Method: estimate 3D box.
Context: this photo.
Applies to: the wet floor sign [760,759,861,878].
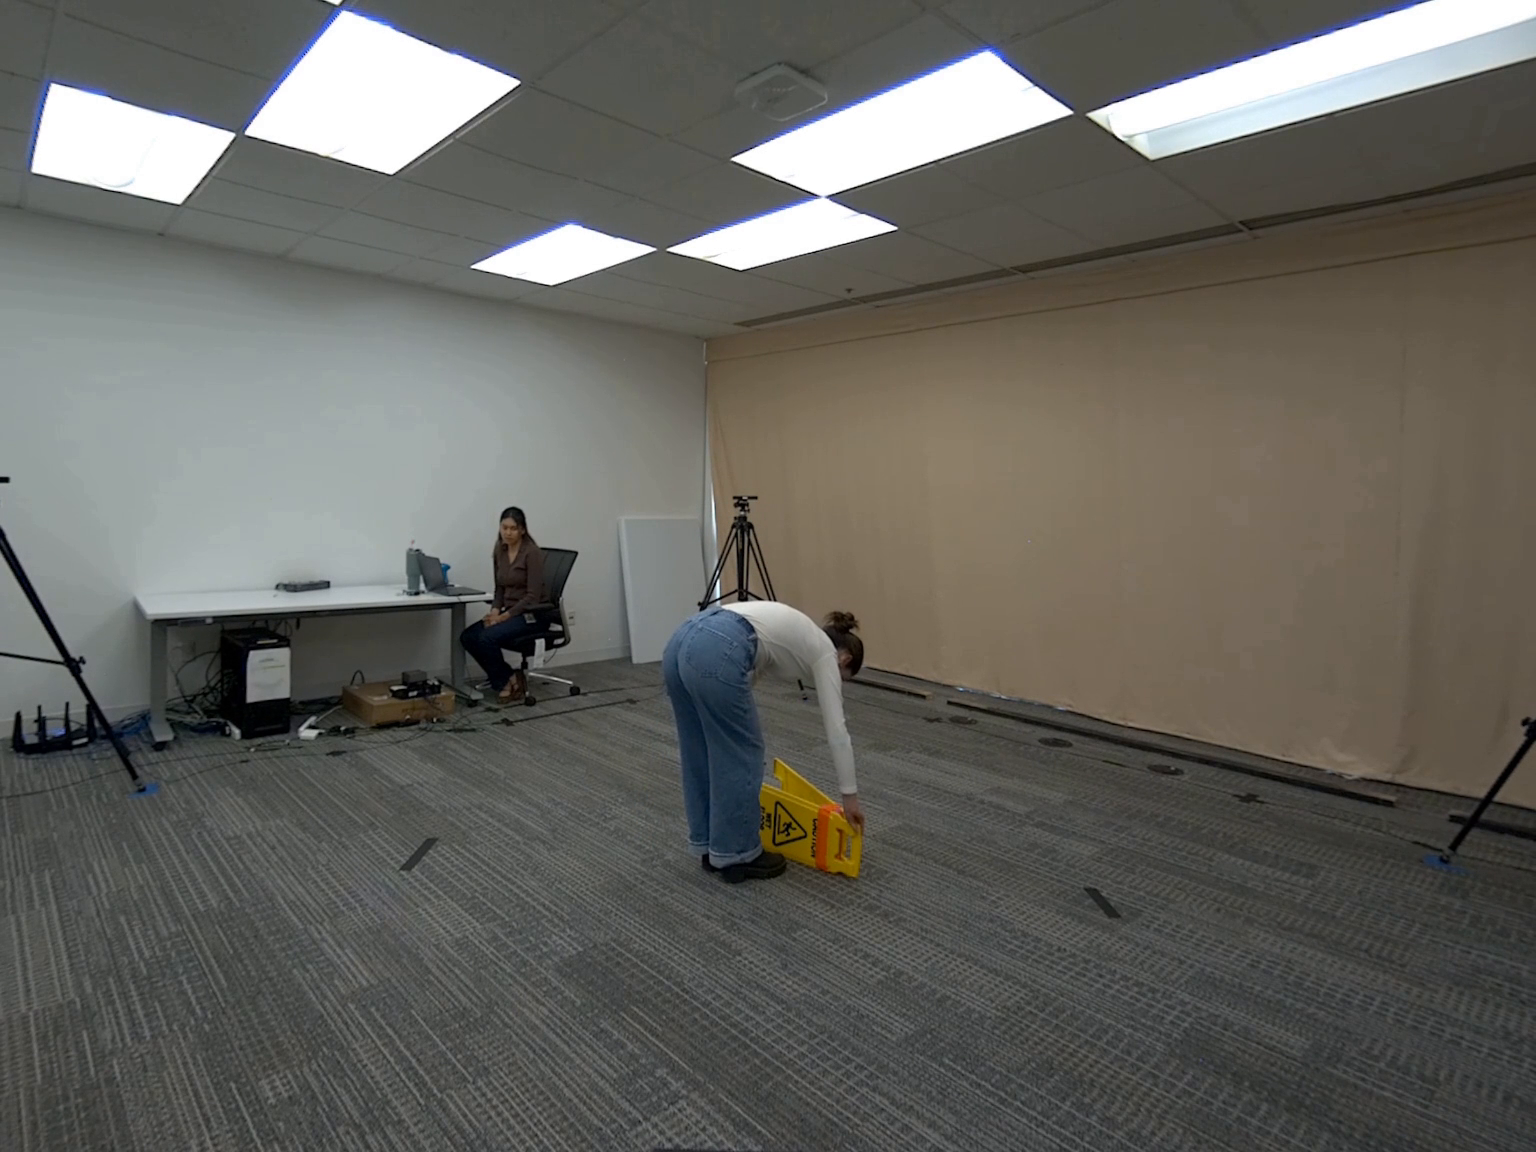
[{"bbox_3d":[0.109,0.962,3.298,0.283,0.281,0.663,-1,7,-37],"label":"wet floor sign"}]
